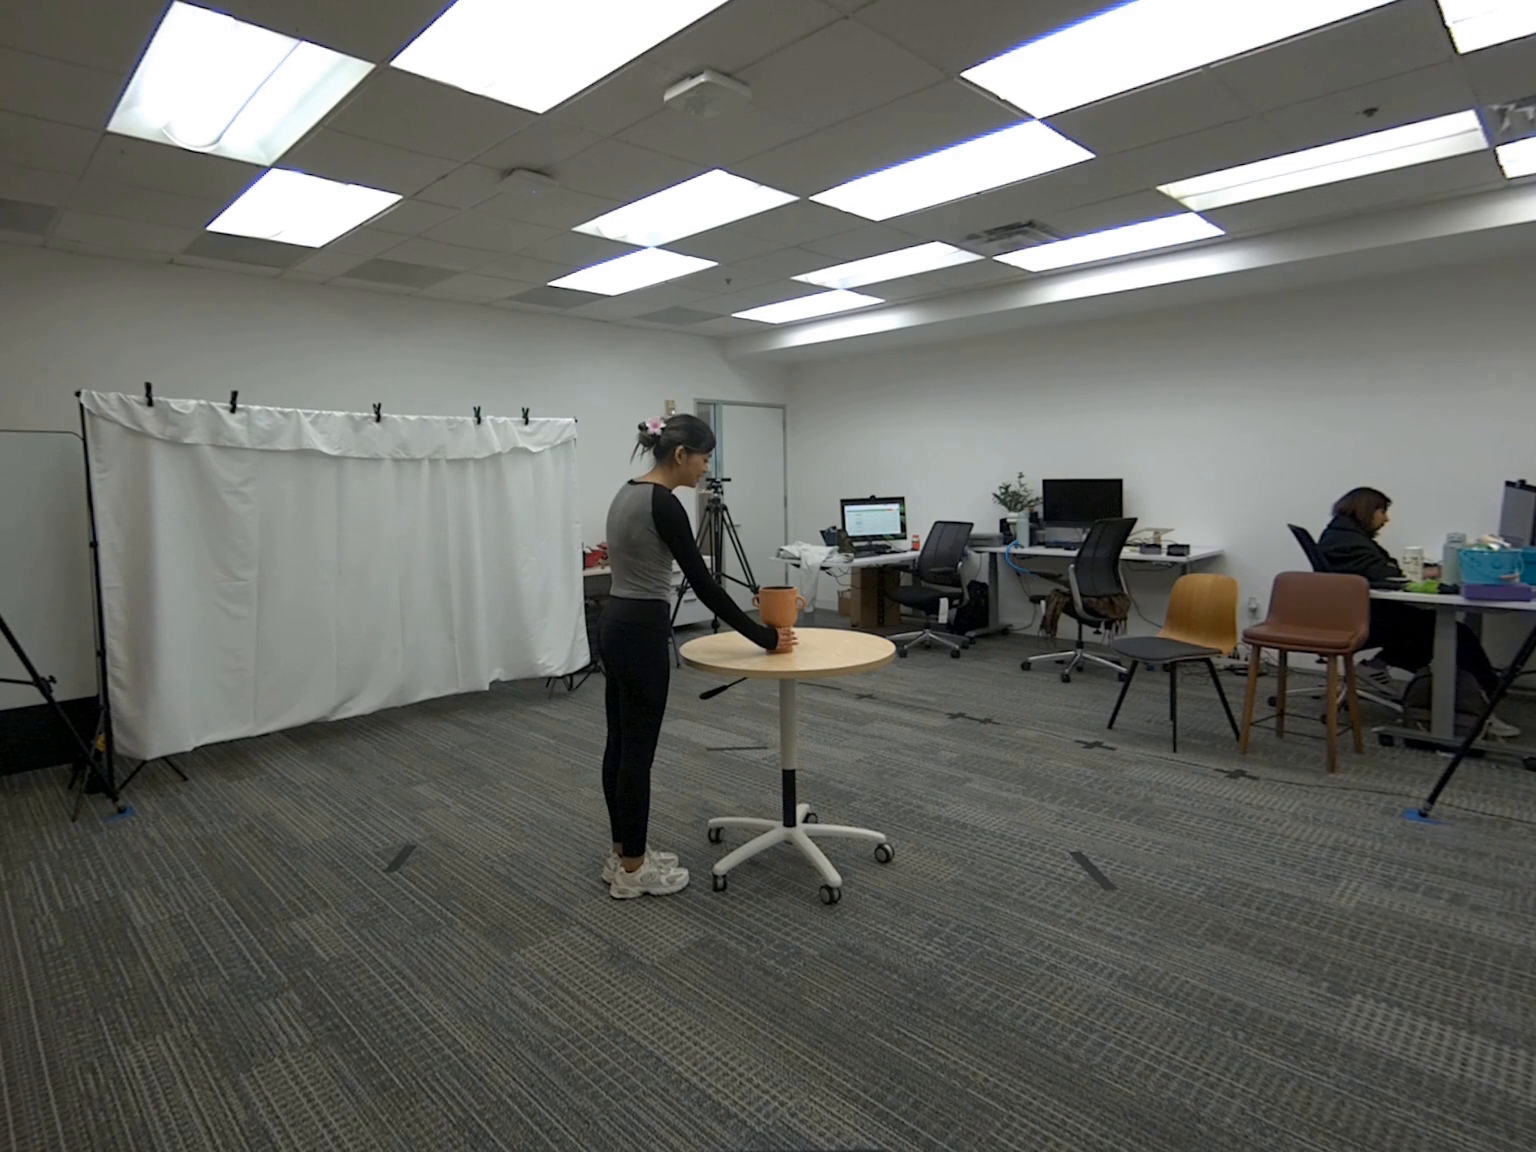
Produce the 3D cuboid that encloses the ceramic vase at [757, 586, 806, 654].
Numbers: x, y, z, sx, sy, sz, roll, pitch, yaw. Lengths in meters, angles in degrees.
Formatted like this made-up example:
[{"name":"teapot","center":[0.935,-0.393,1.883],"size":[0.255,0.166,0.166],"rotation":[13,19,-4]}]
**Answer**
[{"name":"ceramic vase","center":[0.035,0.150,2.979],"size":[0.131,0.219,0.163],"rotation":[-4,6,-30]}]
